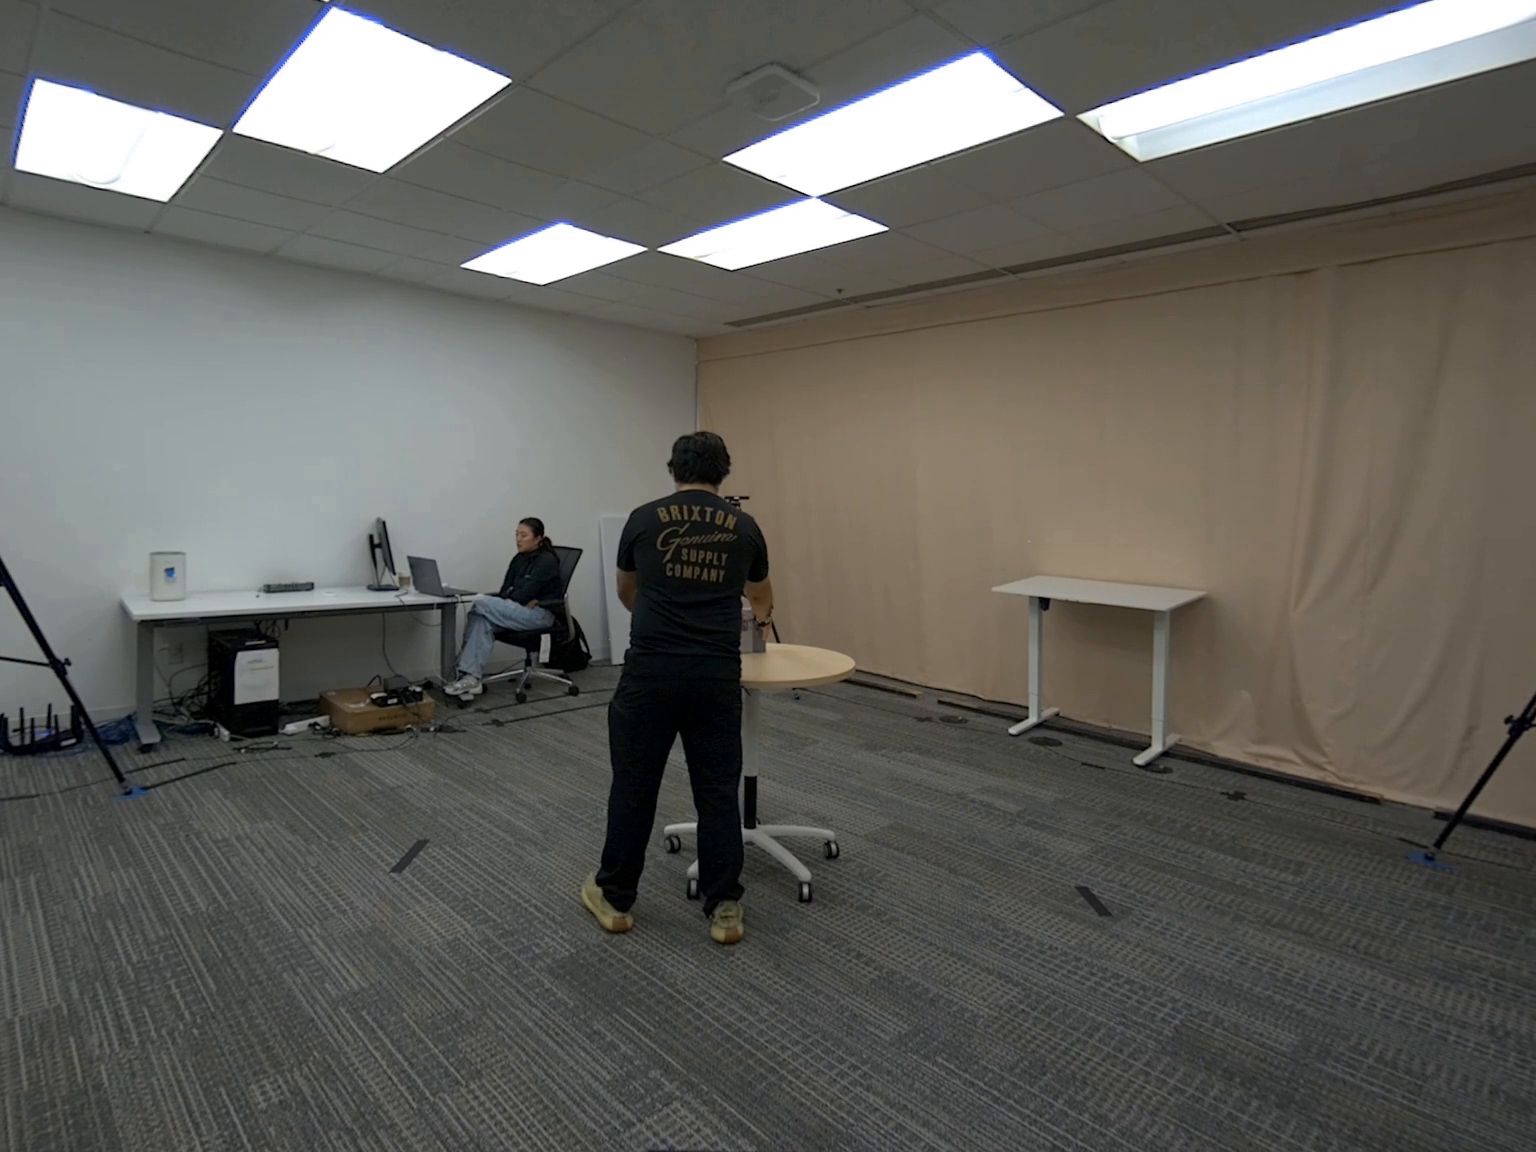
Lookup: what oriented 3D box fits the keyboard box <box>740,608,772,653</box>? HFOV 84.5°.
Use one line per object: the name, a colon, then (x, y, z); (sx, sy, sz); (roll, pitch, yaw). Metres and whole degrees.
keyboard box: (-0.225, 0.224, 3.291); (0.431, 0.175, 0.060); (0, 4, -16)
